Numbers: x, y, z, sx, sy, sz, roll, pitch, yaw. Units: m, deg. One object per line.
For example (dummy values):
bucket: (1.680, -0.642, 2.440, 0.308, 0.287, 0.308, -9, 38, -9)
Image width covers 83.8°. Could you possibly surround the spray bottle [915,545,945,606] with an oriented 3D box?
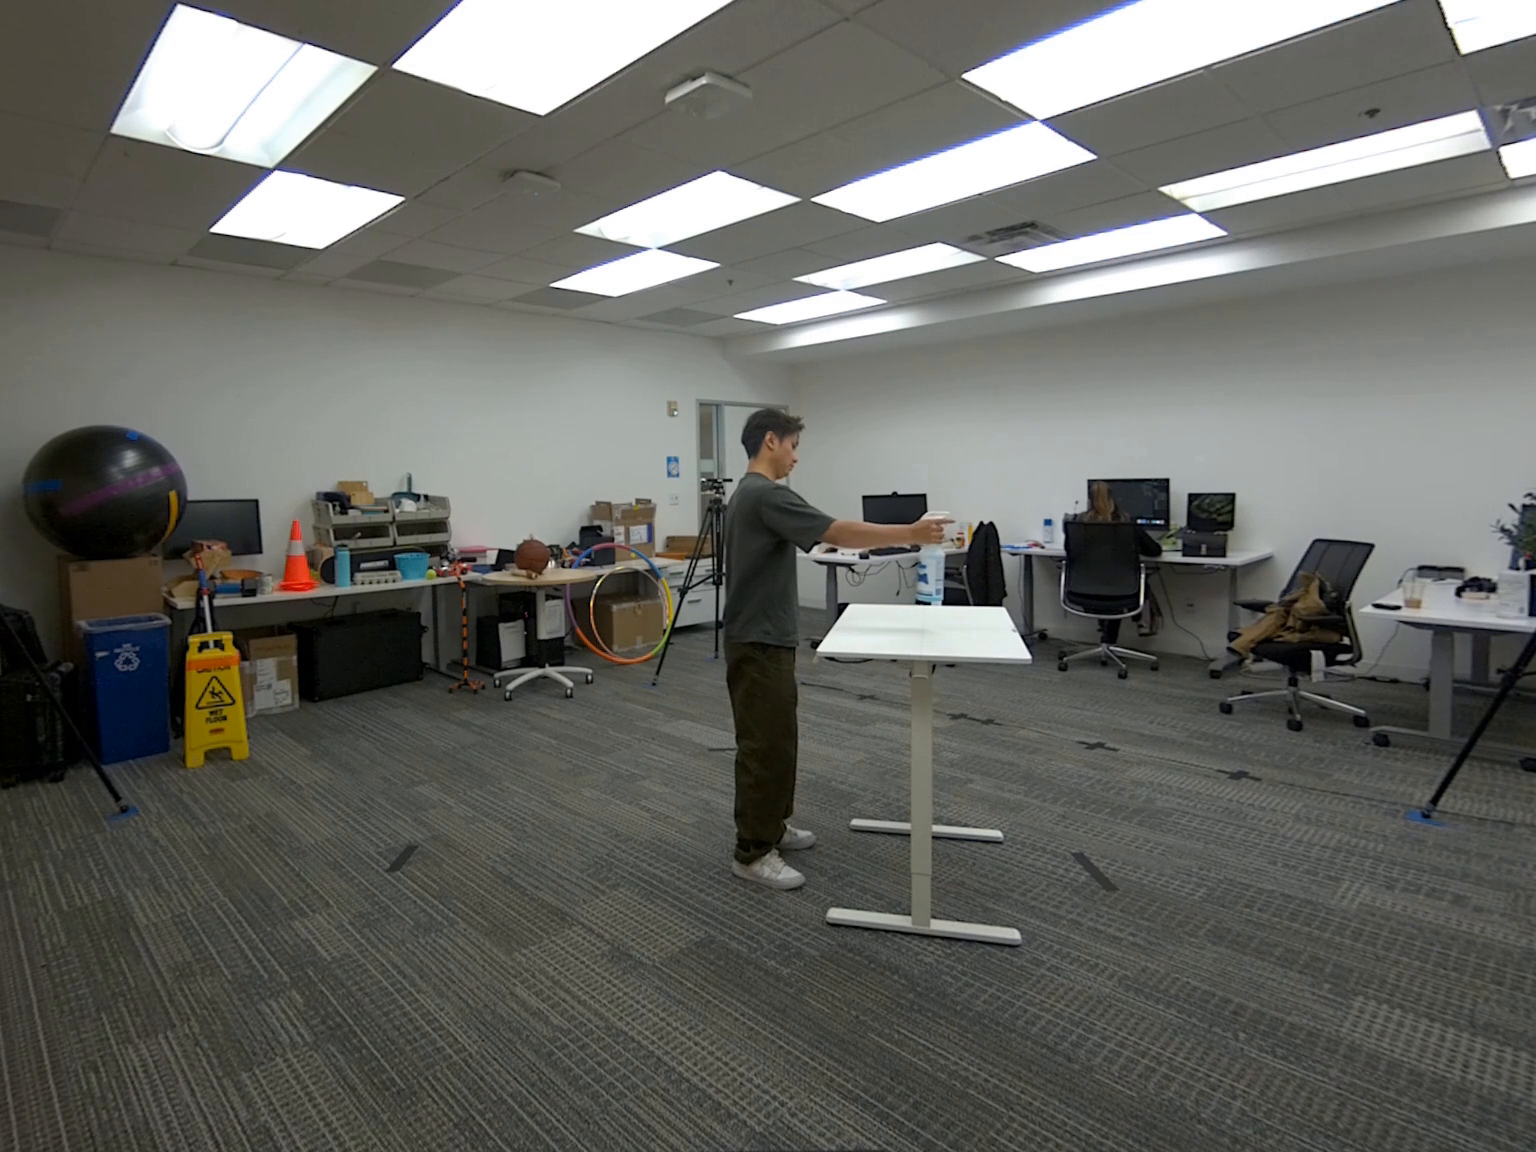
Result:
spray bottle: (0.544, -0.065, 2.834, 0.093, 0.296, 0.085, 6, 5, 33)
